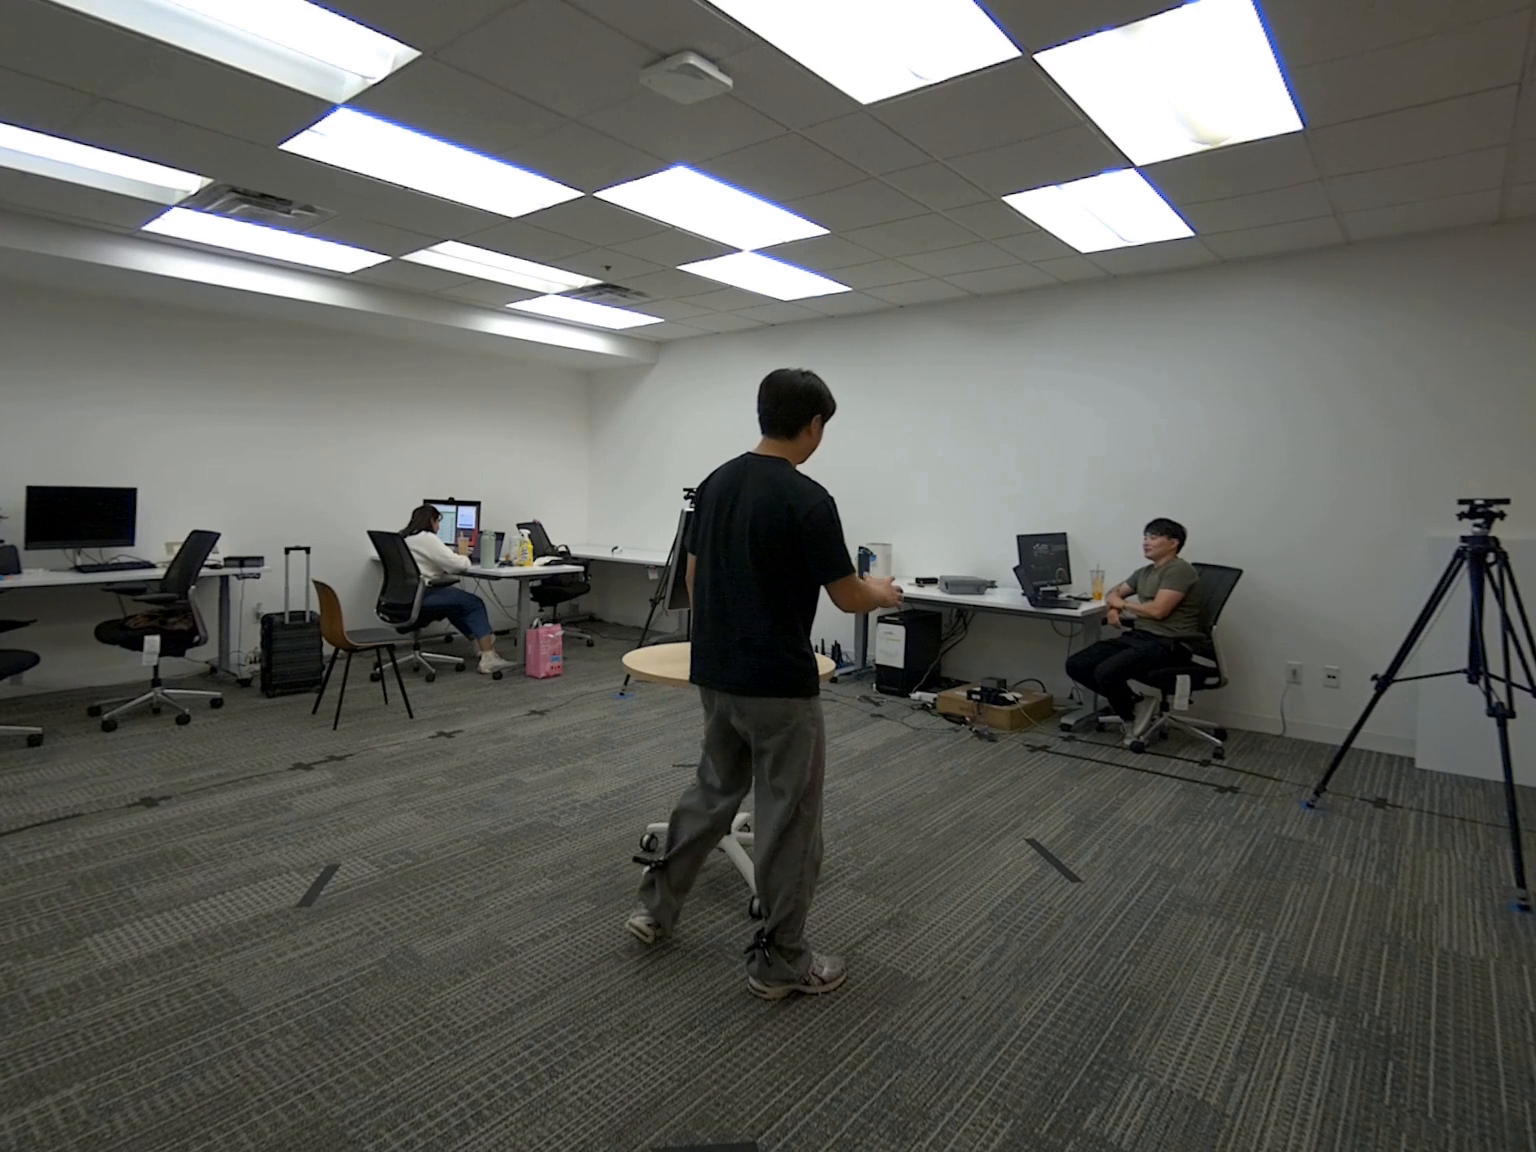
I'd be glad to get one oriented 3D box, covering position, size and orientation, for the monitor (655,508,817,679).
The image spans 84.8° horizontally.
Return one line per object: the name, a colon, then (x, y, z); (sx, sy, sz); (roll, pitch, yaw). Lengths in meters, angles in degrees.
monitor: (-0.106, 0.041, 3.040); (0.545, 0.565, 0.229); (-1, 2, -39)
